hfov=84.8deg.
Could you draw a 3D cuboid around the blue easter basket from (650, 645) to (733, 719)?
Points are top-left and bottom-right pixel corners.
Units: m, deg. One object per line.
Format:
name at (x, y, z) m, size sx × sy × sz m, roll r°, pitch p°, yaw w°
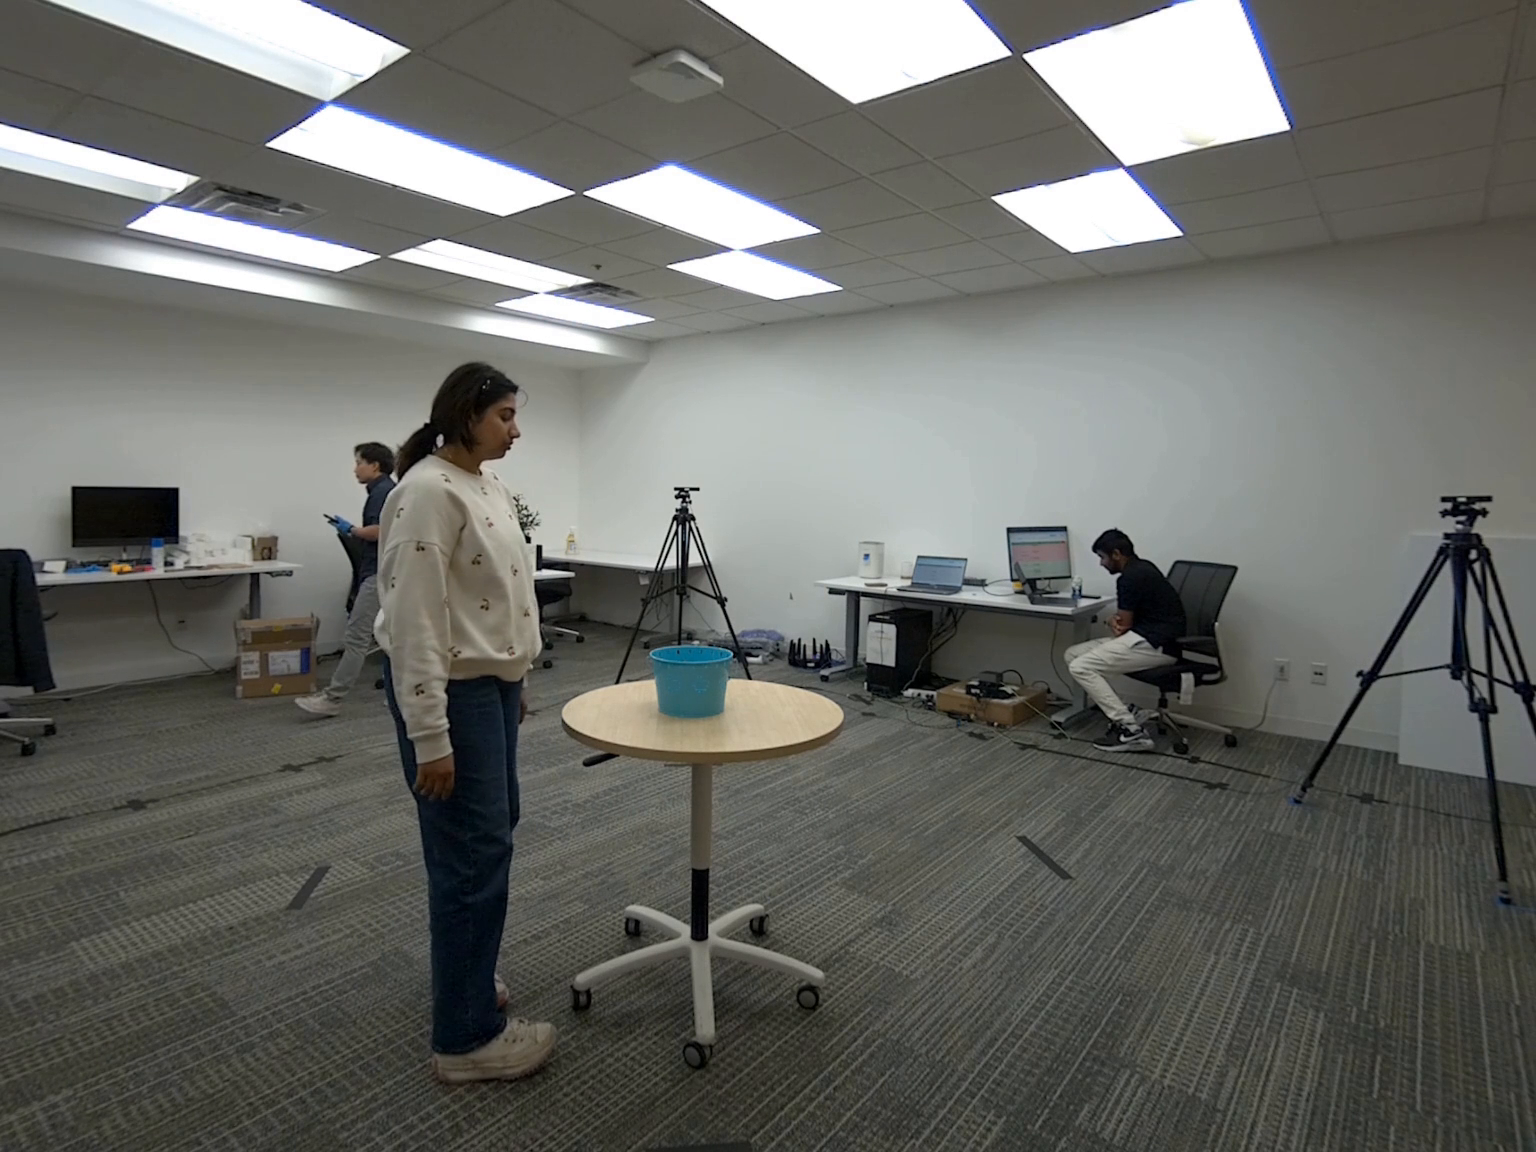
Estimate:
blue easter basket at (-0.215, 0.293, 2.313) m, size 0.243 × 0.155 × 0.245 m, roll 1°, pitch 7°, yaw -2°
